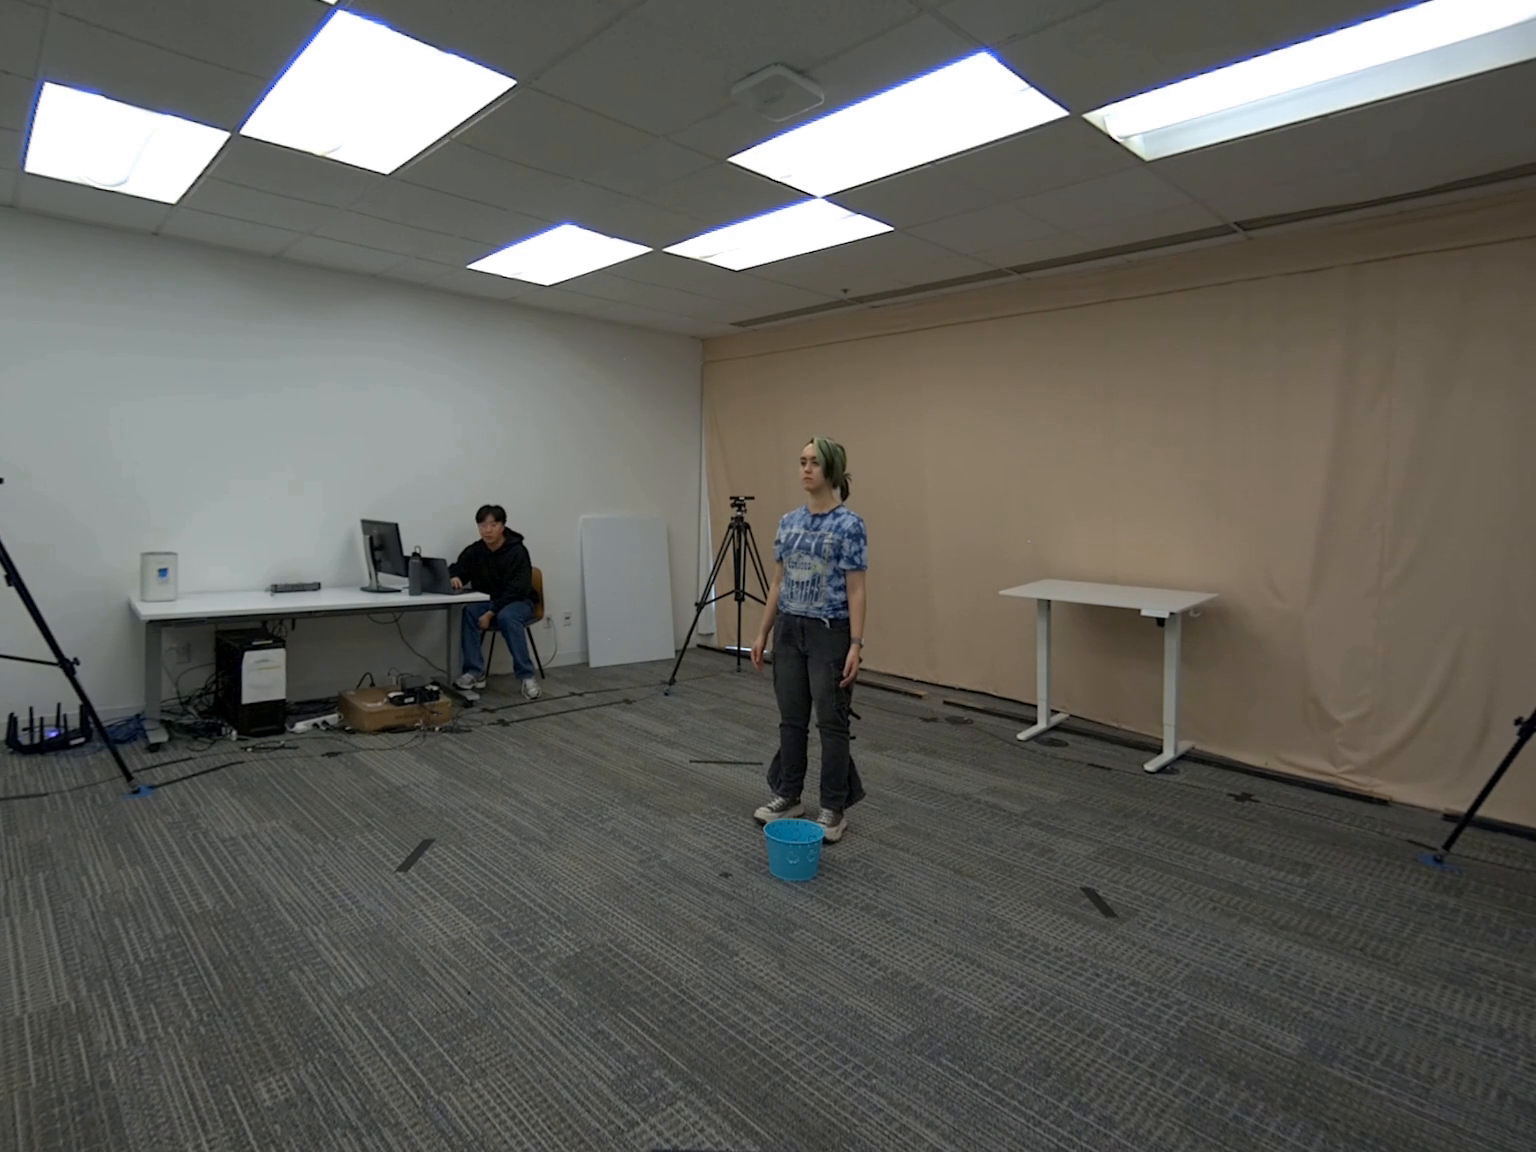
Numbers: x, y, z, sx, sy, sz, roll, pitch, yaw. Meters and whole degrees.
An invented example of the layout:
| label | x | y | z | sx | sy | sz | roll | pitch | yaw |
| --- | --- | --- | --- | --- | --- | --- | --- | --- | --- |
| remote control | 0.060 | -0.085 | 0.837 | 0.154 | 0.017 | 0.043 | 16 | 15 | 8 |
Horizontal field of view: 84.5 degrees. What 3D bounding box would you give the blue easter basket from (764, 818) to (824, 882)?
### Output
| label | x | y | z | sx | sy | sz | roll | pitch | yaw |
| --- | --- | --- | --- | --- | --- | --- | --- | --- | --- |
| blue easter basket | 0.093 | 1.026 | 3.155 | 0.243 | 0.155 | 0.244 | 1 | 5 | -1 |
